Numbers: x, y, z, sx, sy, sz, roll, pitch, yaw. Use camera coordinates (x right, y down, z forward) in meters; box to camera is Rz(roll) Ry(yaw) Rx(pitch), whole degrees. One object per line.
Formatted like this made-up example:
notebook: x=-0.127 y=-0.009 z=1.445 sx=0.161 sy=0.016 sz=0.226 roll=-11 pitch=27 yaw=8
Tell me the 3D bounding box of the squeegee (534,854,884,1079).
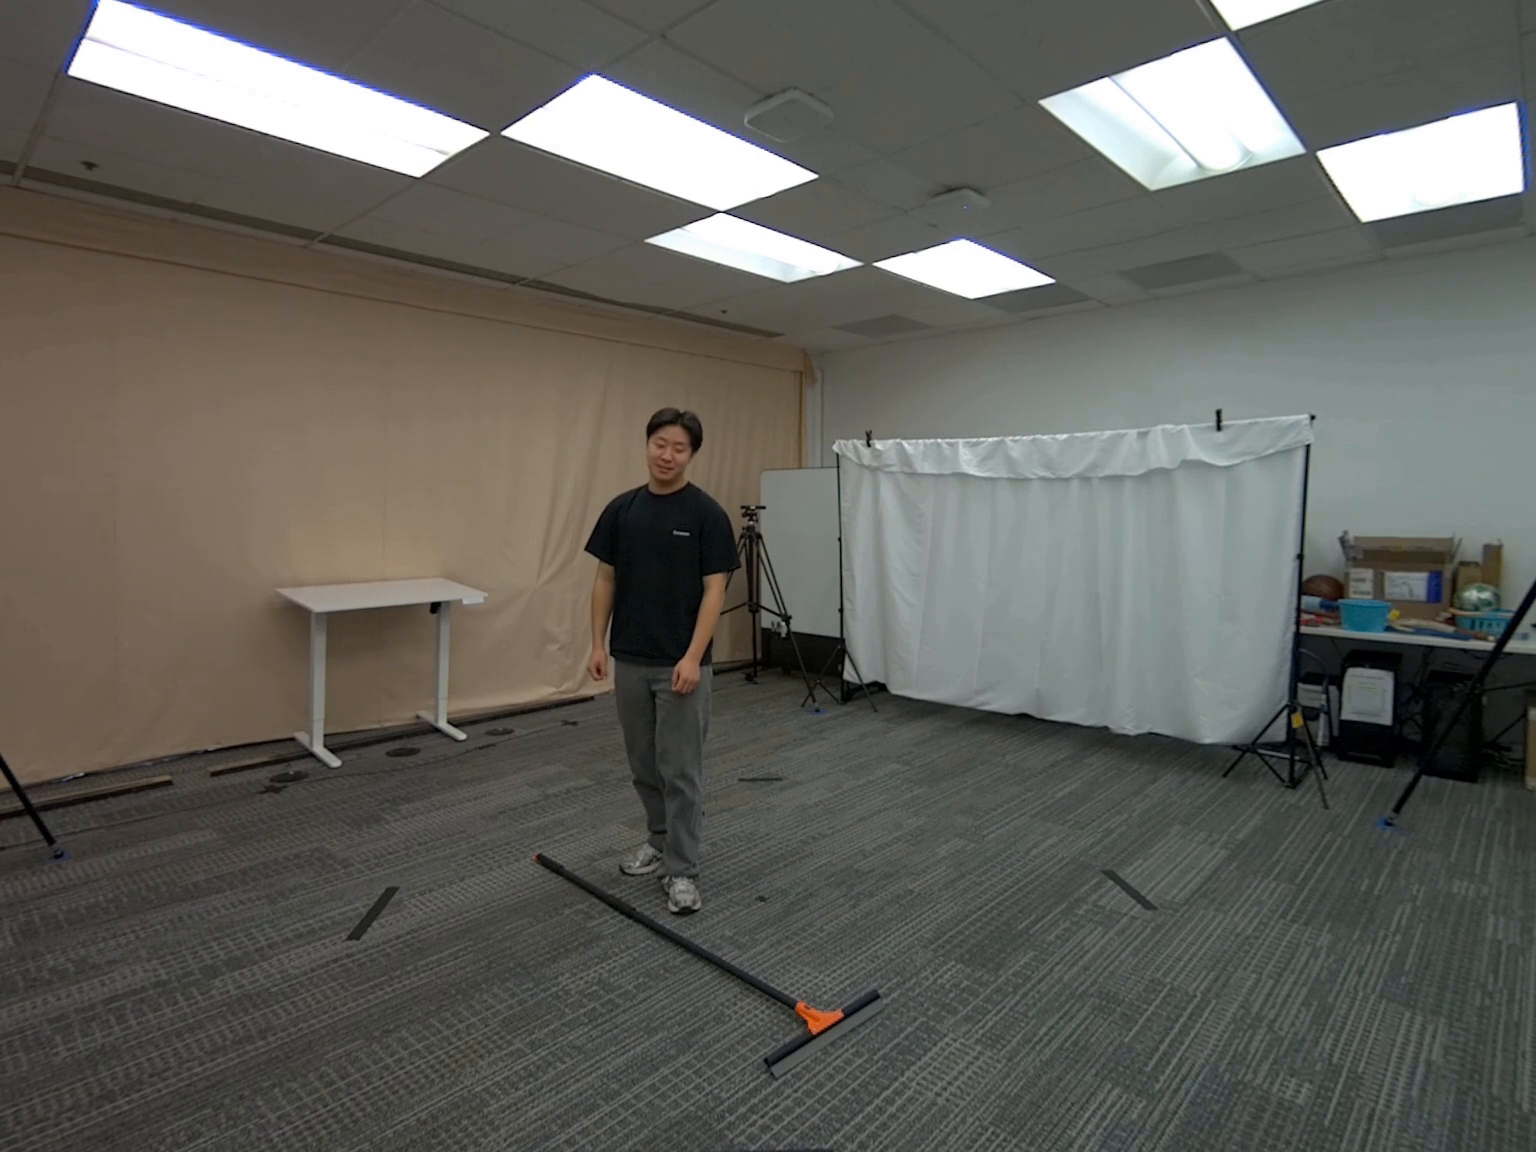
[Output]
squeegee: x=-0.364 y=1.128 z=2.757 sx=0.424 sy=0.053 sz=1.589 roll=-3 pitch=4 yaw=-43
